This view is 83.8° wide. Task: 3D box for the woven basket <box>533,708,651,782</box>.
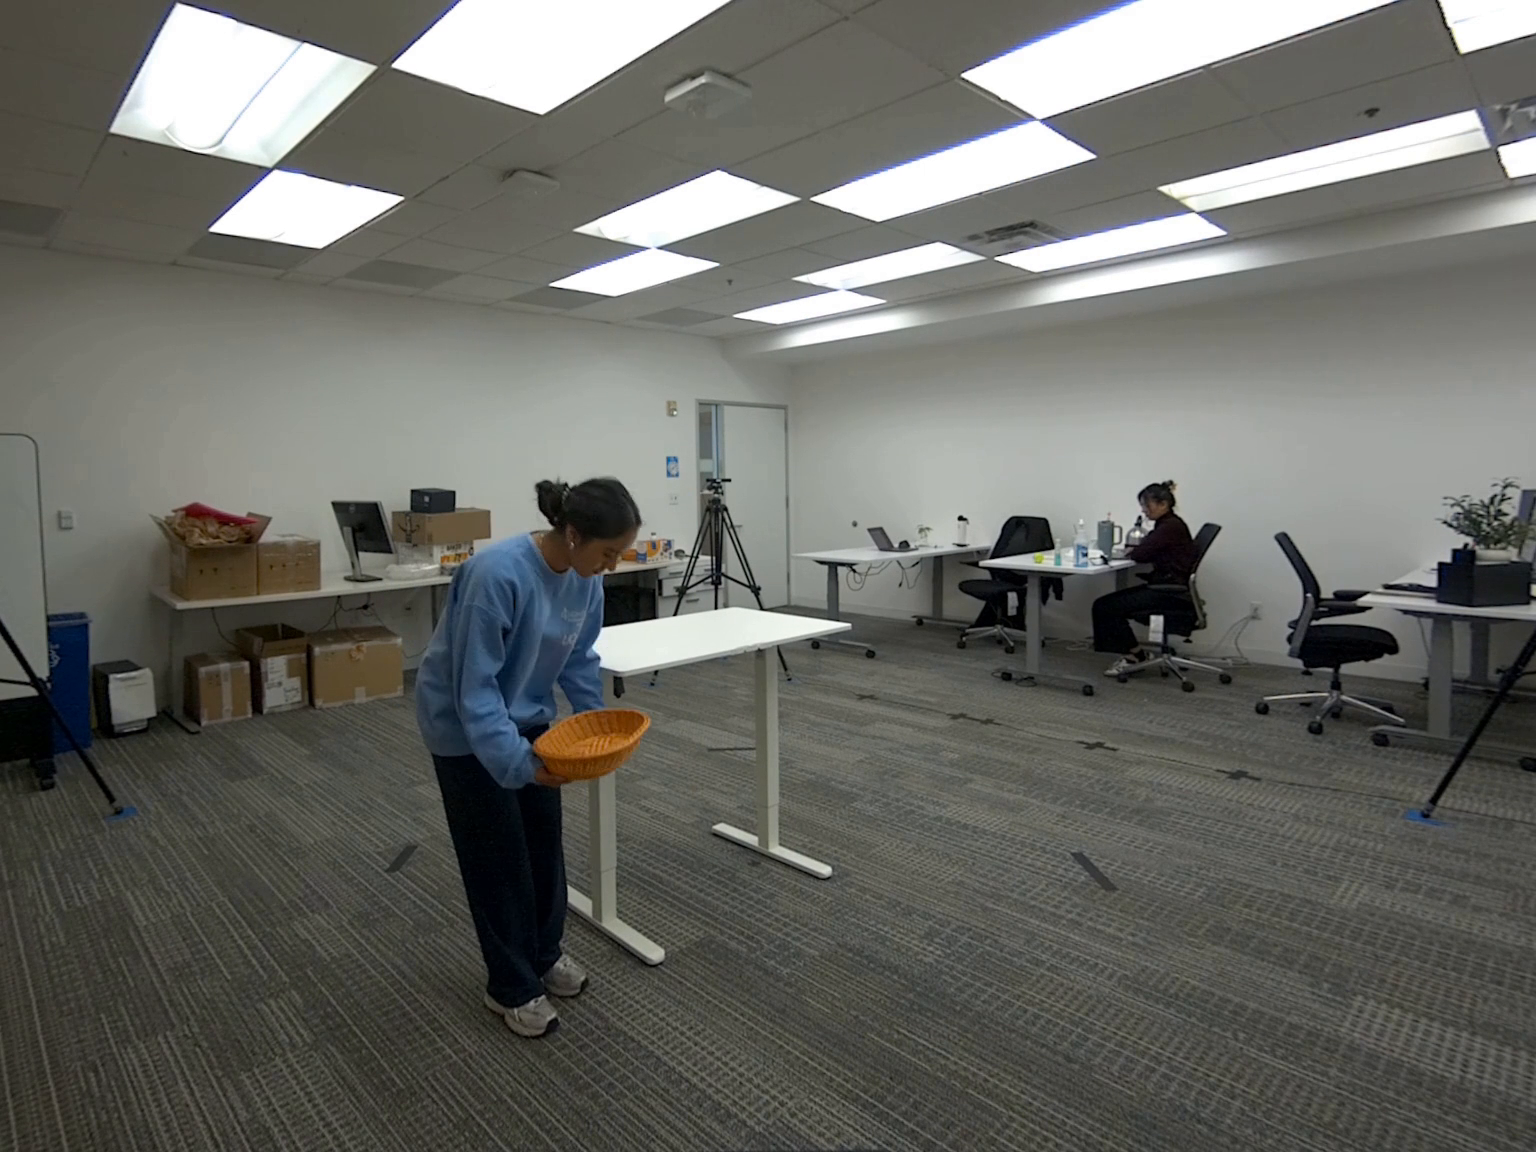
[{"bbox_3d":[-0.463,0.427,2.102,0.255,0.073,0.349,-3,9,10],"label":"woven basket"}]
